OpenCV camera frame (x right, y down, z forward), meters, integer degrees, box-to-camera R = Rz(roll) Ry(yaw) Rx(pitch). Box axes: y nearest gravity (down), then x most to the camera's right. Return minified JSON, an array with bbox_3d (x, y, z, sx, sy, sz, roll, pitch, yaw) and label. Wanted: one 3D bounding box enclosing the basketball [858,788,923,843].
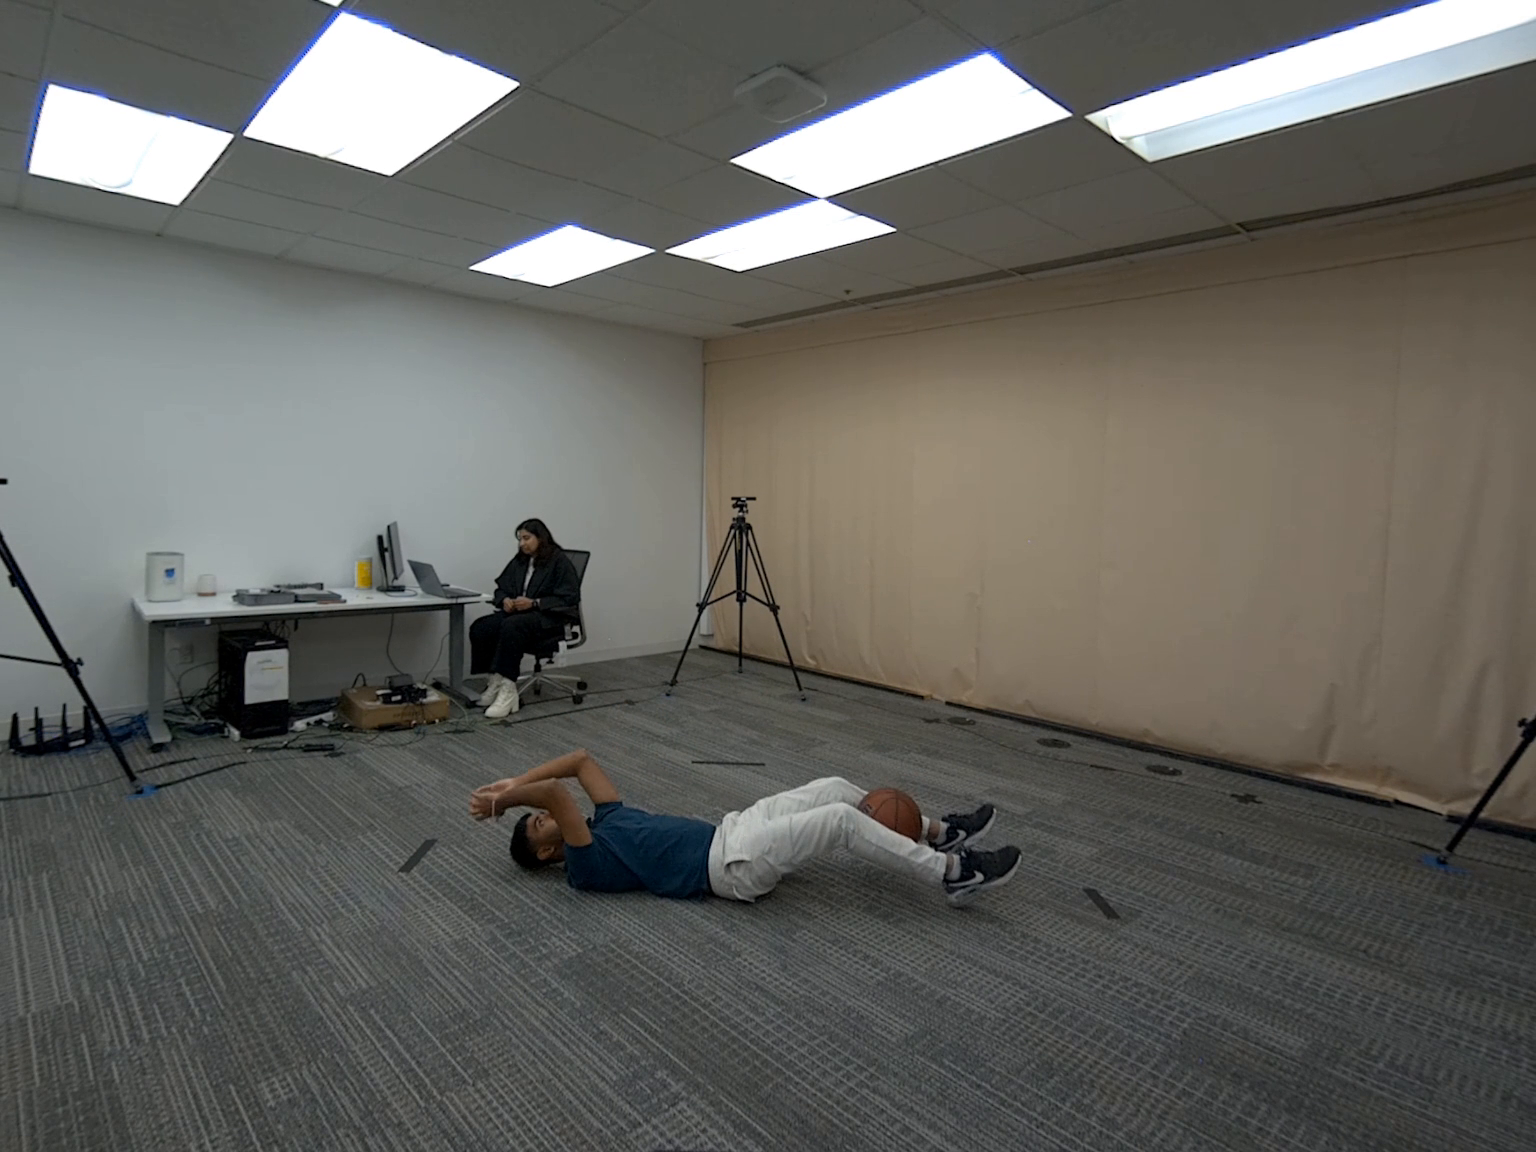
[{"bbox_3d":[0.428,0.870,3.004,0.236,0.235,0.237,1,4,-1],"label":"basketball"}]
